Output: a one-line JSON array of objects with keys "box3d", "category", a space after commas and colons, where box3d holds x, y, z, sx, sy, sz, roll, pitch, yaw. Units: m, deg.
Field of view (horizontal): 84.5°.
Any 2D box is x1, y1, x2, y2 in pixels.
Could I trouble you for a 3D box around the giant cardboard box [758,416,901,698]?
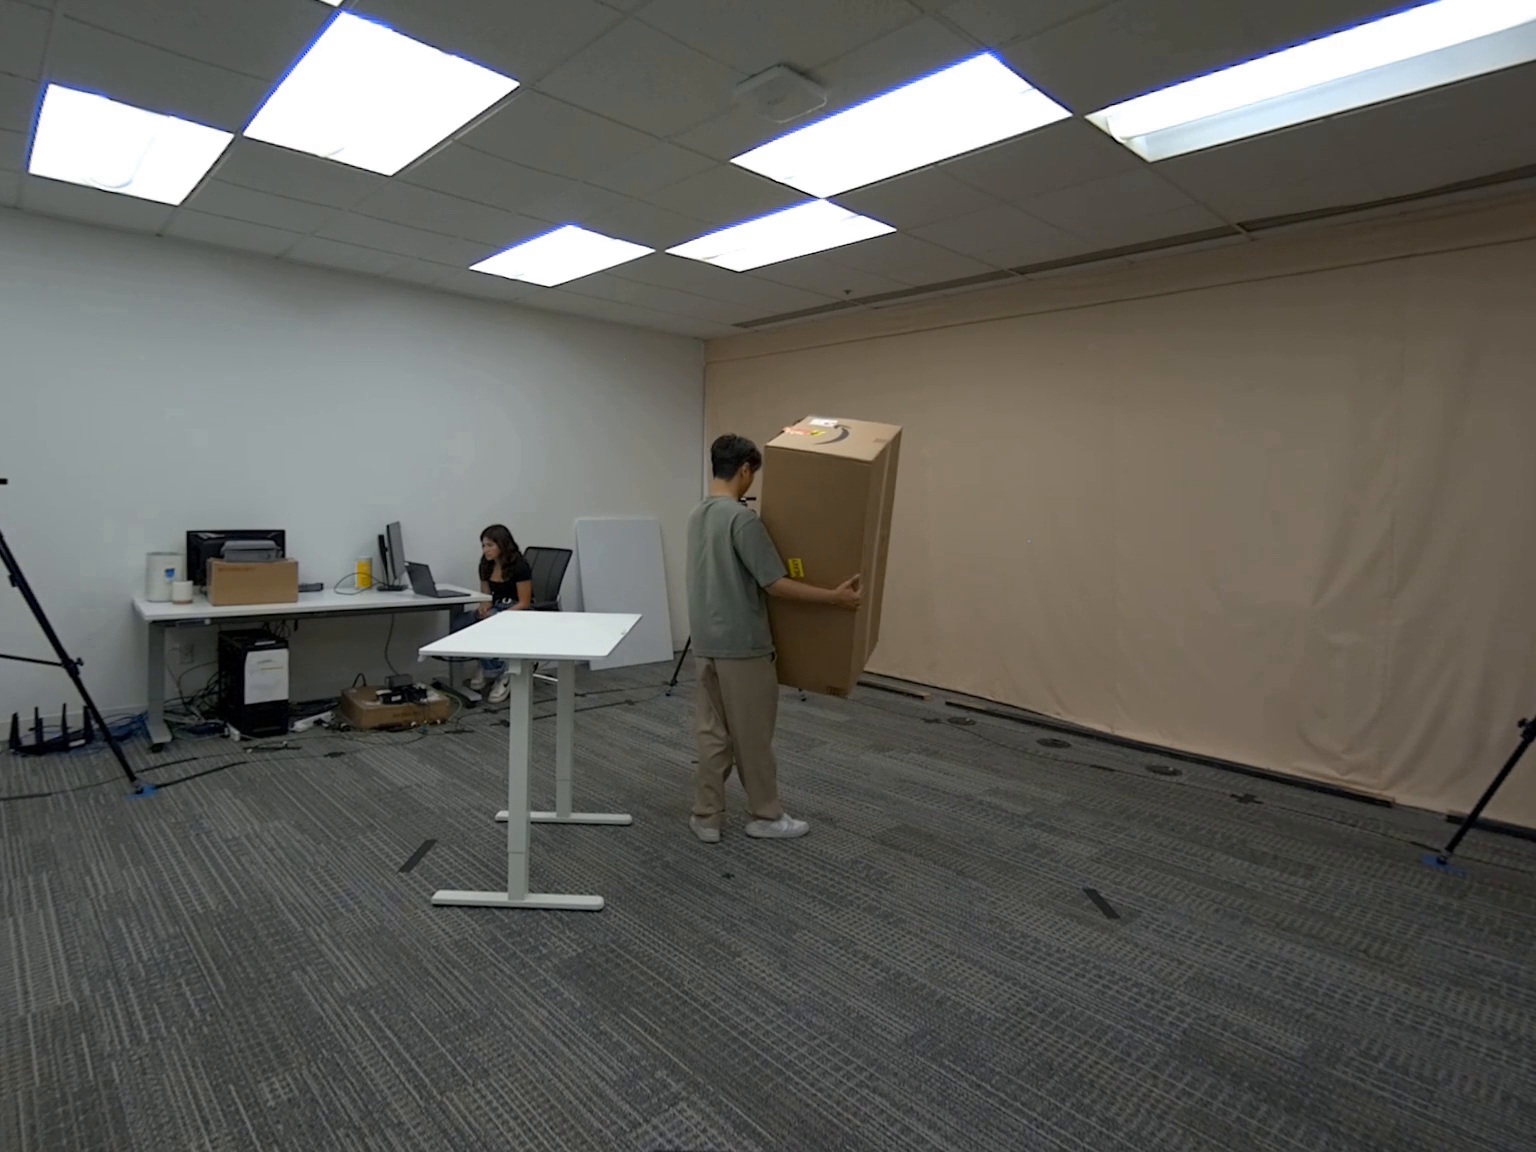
[{"box3d": [0.244, -0.097, 3.555, 0.433, 1.011, 0.577, 11, 24, 17], "category": "giant cardboard box"}]
